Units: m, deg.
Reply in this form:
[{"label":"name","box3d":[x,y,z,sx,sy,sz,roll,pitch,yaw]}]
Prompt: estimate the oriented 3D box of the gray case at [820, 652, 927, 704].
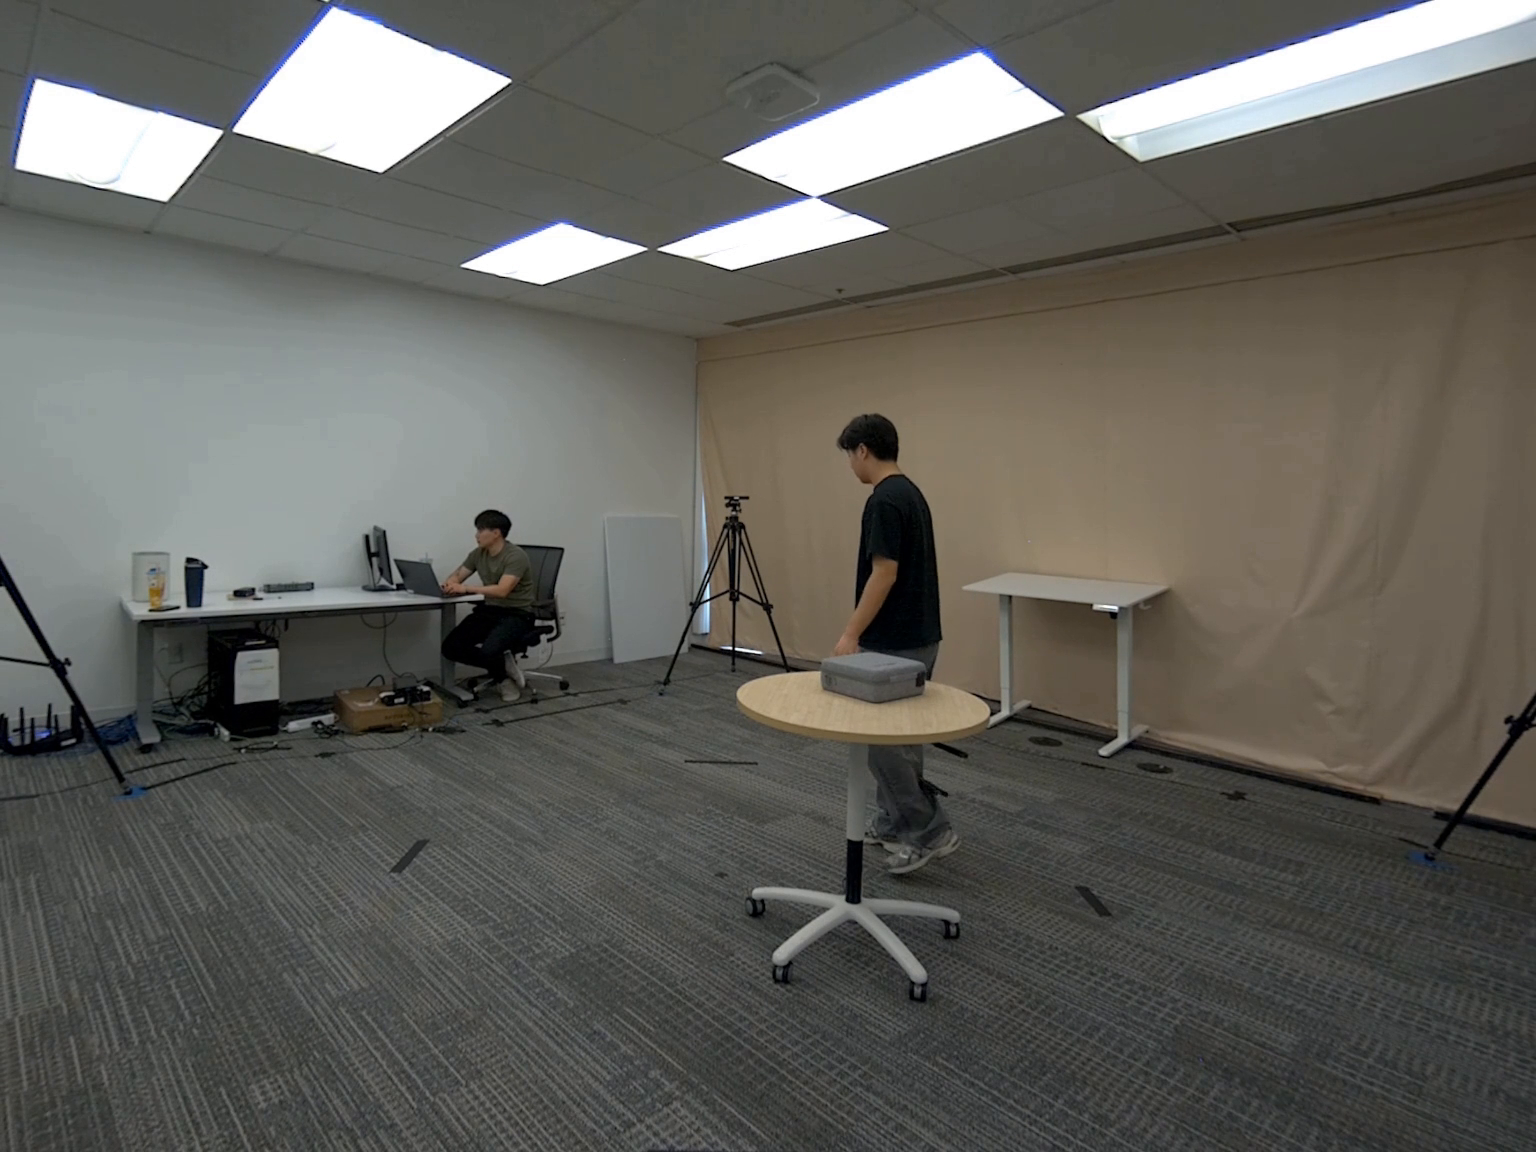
[{"label":"gray case","box3d":[0.318,0.317,2.688,0.257,0.103,0.294,-2,6,-37]}]
